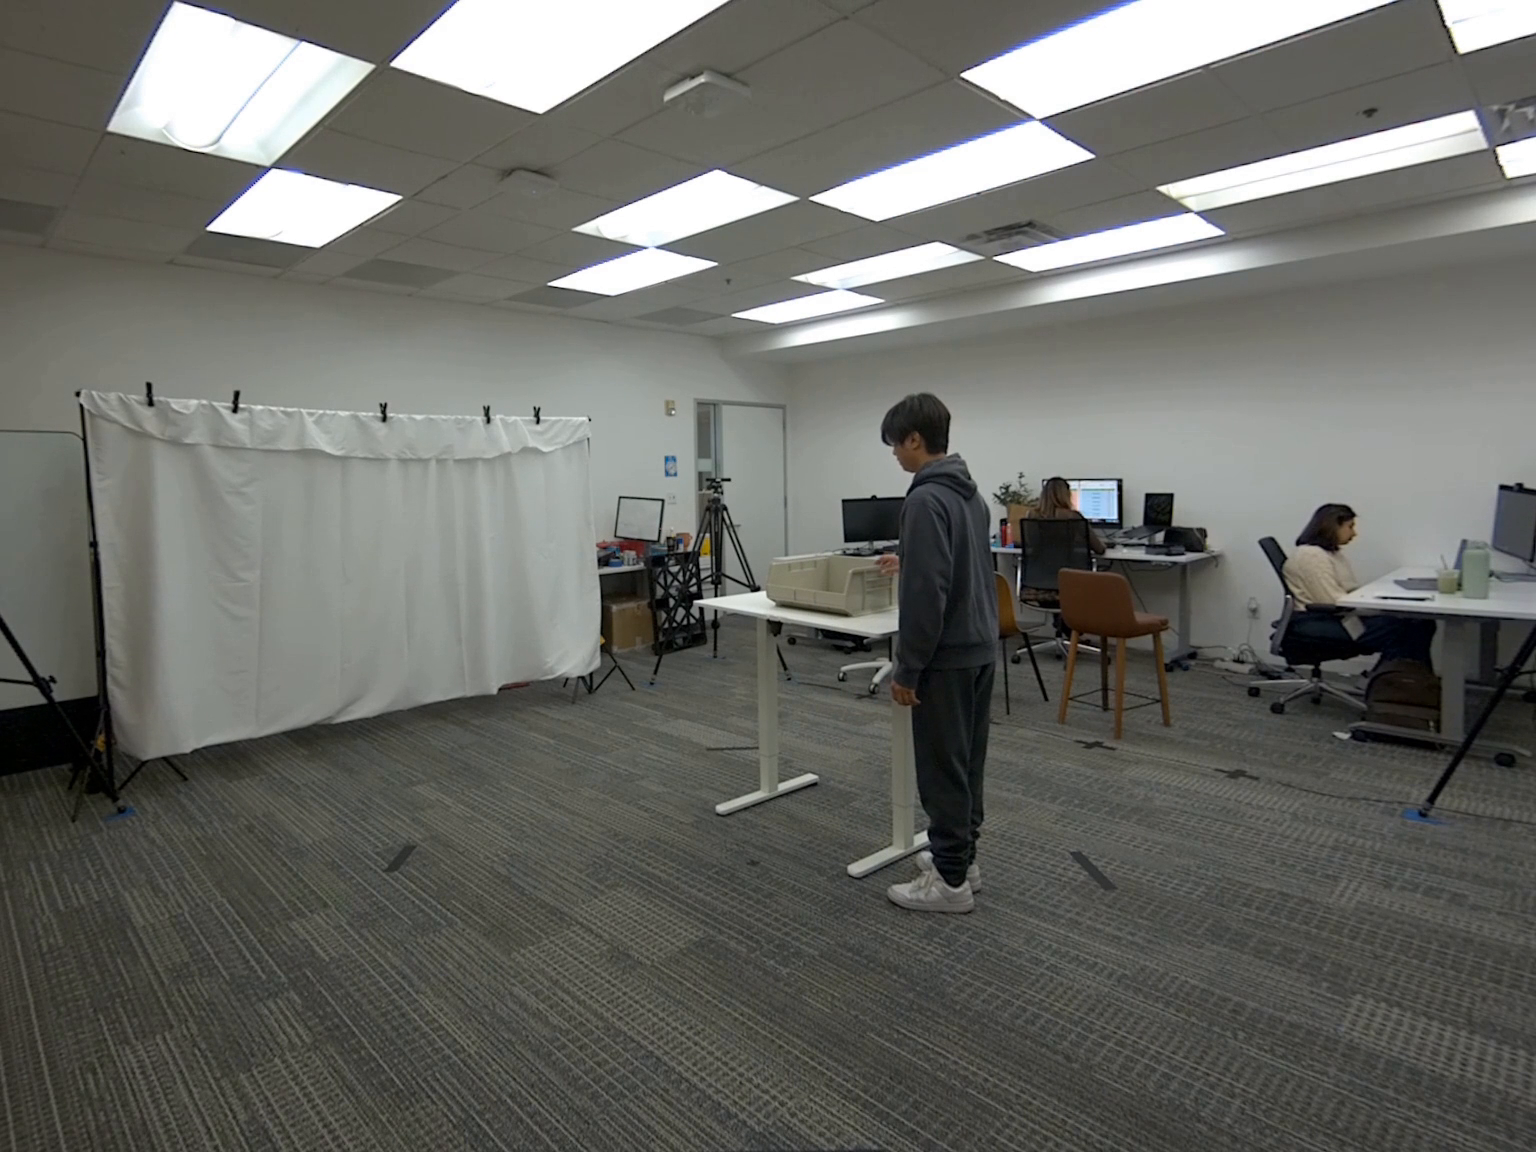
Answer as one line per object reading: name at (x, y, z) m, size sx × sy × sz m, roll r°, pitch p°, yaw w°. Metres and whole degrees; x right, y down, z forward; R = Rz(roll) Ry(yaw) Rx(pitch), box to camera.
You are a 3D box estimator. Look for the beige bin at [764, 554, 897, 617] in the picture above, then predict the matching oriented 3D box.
beige bin at (0.272, 0.034, 3.368) m, size 0.367 × 0.188 × 0.435 m, roll -6°, pitch 8°, yaw -42°
